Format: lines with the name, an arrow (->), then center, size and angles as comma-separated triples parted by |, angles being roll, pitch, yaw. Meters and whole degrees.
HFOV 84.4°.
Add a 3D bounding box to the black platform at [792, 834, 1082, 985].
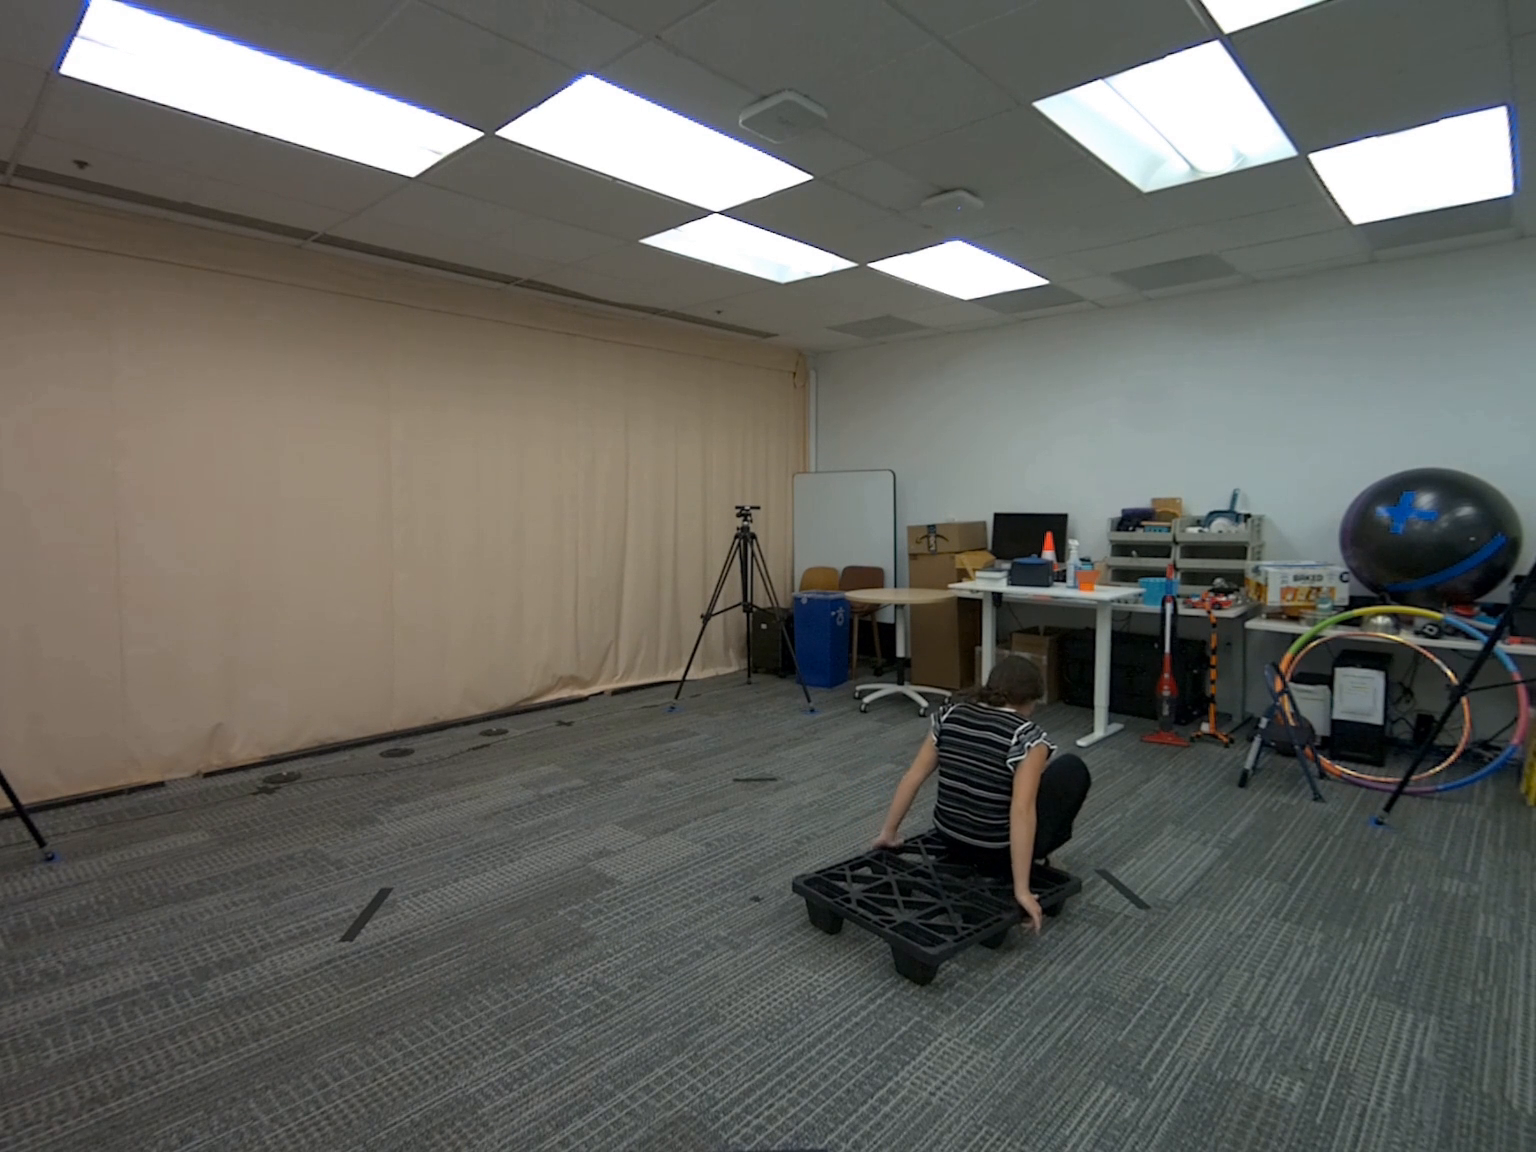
black platform -> 0.574, 1.084, 2.834 | 0.781, 0.143, 0.625 | -4, 7, -39
